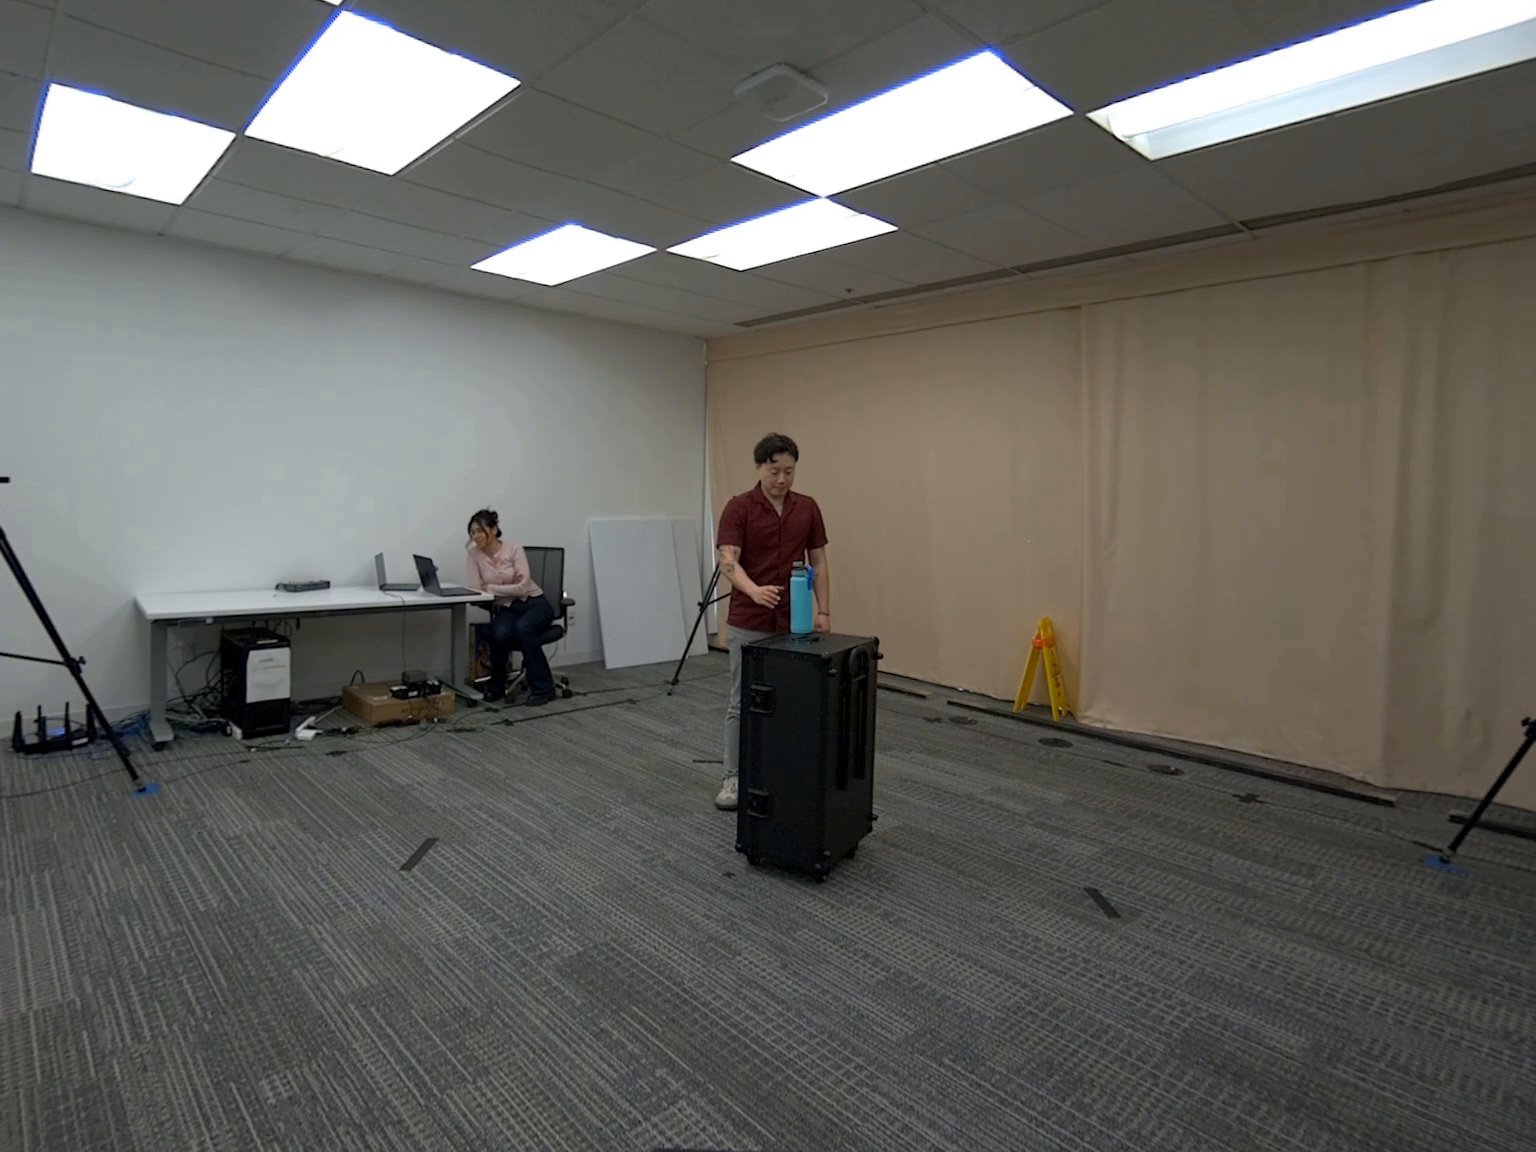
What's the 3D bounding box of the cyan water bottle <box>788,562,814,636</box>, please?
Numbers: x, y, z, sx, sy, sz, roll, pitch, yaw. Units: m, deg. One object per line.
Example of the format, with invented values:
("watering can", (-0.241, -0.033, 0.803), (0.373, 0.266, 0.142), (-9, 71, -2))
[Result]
("cyan water bottle", (0.126, 0.086, 3.432), (0.092, 0.282, 0.093), (0, 6, -1))
